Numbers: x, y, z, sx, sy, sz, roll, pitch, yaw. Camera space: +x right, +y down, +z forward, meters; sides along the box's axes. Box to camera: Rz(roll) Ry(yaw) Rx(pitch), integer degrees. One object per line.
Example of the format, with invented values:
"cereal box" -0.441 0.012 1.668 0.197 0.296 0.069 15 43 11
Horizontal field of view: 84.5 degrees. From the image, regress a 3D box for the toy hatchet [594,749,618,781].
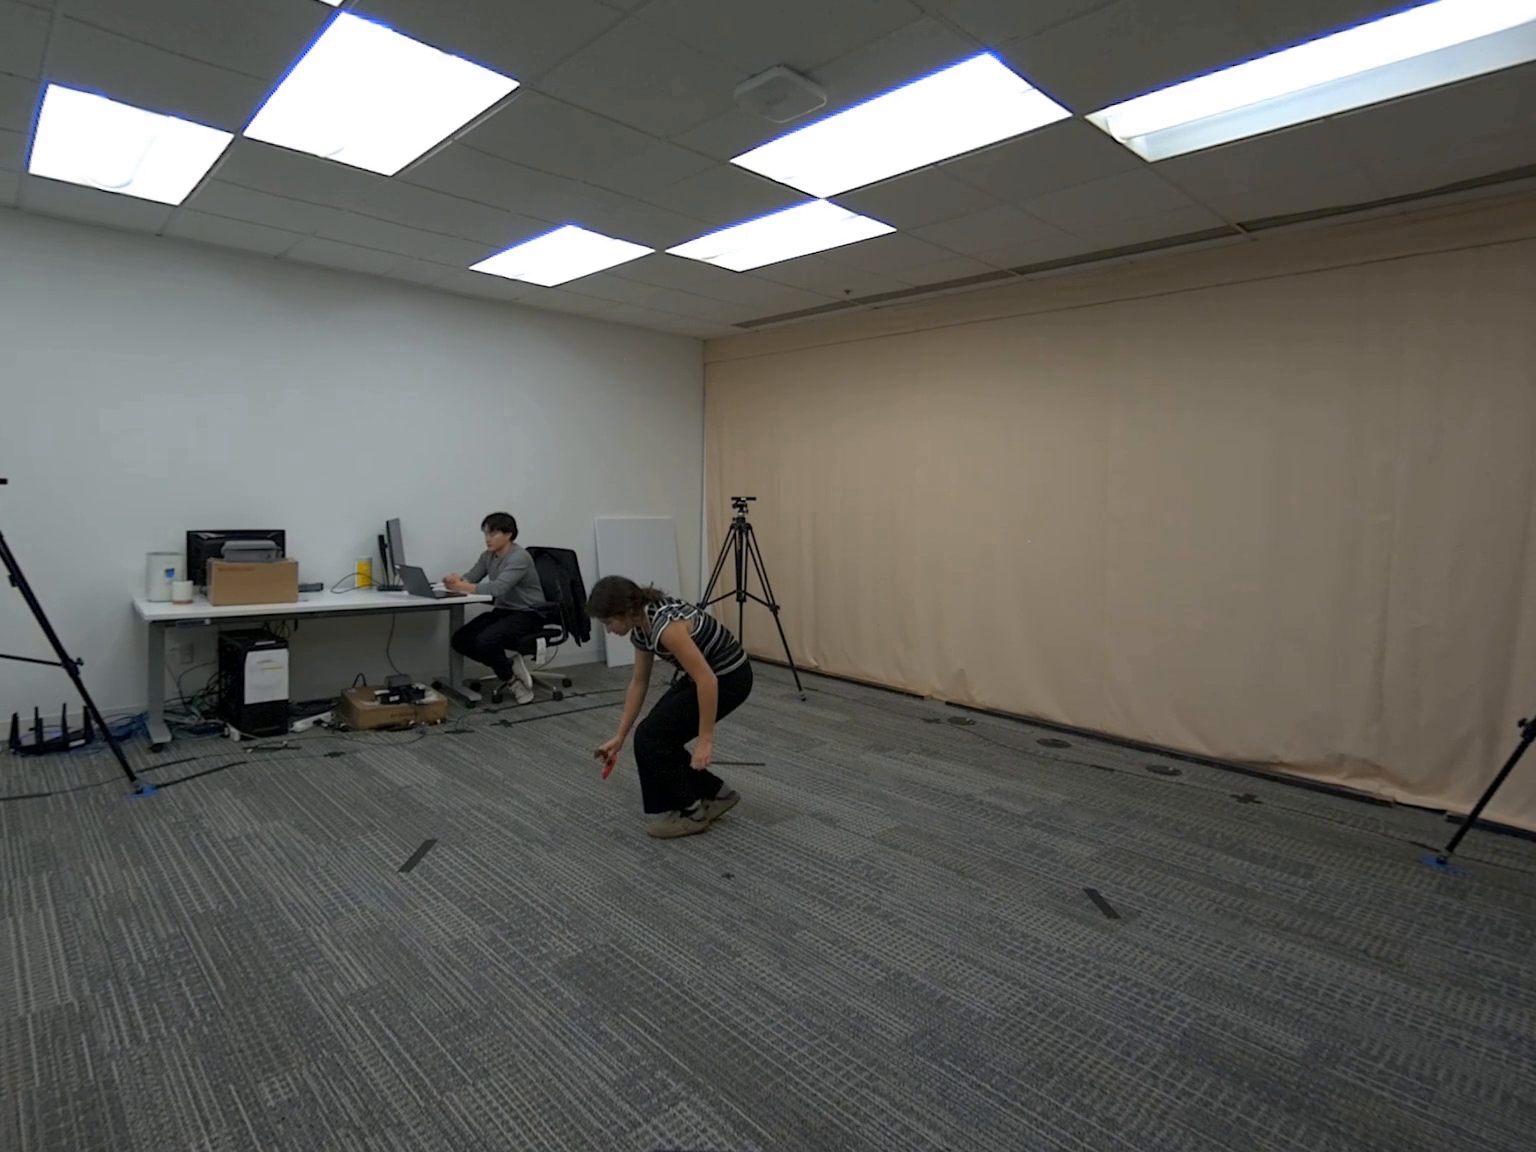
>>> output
"toy hatchet" -0.687 0.807 3.533 0.030 0.131 0.269 20 -1 2
